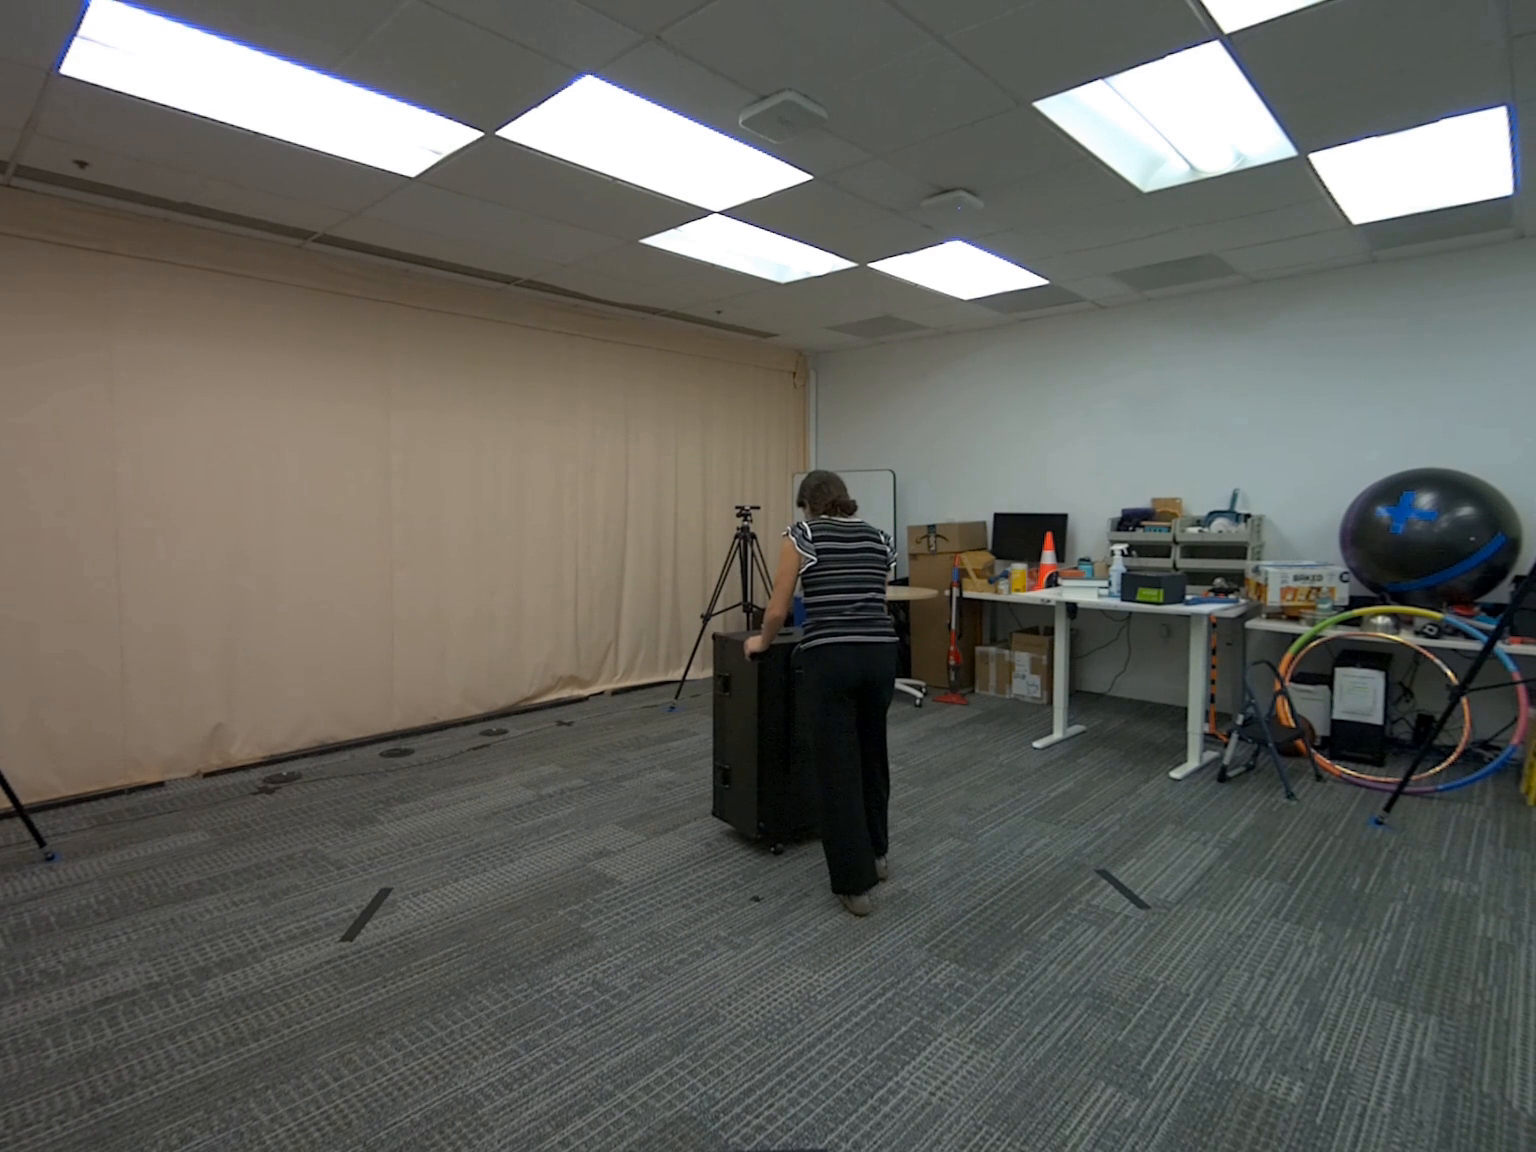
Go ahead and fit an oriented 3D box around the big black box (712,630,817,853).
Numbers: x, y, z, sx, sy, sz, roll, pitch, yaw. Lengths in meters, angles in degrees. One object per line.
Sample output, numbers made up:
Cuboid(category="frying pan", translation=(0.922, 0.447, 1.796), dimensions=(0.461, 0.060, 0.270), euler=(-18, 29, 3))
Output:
Cuboid(category="big black box", translation=(0.072, 0.670, 3.546), dimensions=(0.507, 0.860, 0.408), euler=(-1, 4, -31))
